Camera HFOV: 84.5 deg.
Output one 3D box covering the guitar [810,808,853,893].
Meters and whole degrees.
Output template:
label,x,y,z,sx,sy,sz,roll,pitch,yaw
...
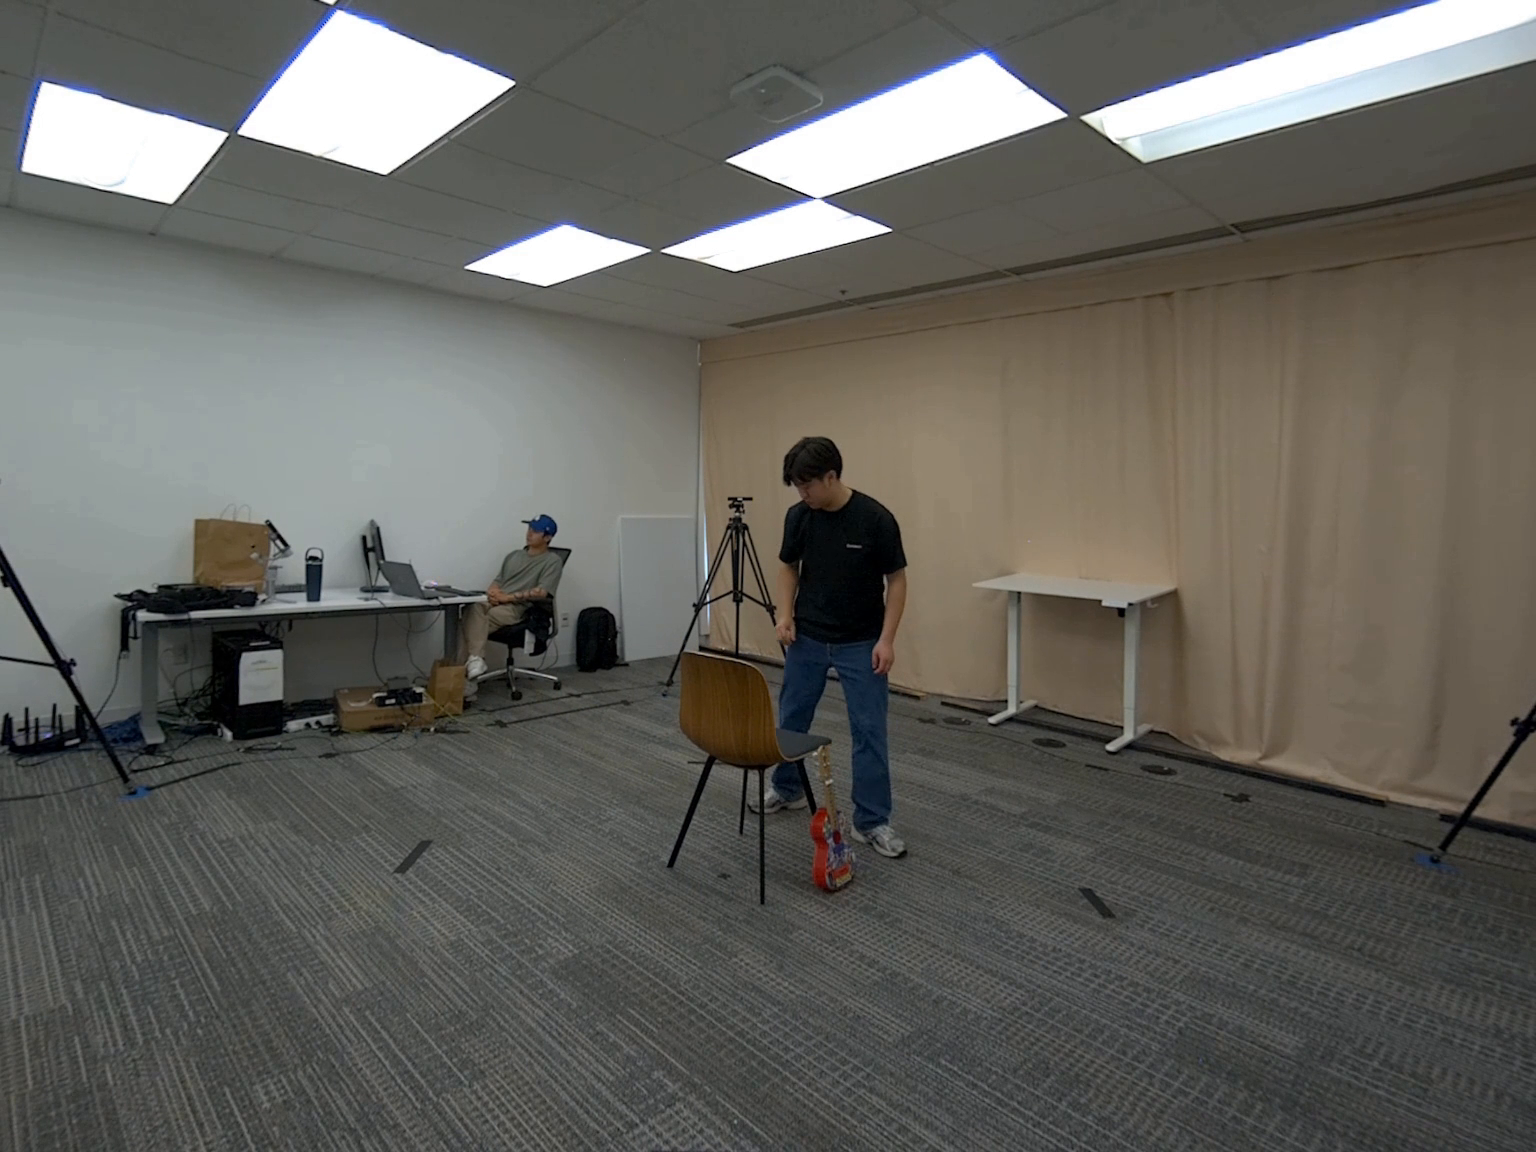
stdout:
label,x,y,z,sx,sy,sz,roll,pitch,yaw
guitar,0.225,0.875,3.068,0.072,0.502,0.188,-14,-15,42
